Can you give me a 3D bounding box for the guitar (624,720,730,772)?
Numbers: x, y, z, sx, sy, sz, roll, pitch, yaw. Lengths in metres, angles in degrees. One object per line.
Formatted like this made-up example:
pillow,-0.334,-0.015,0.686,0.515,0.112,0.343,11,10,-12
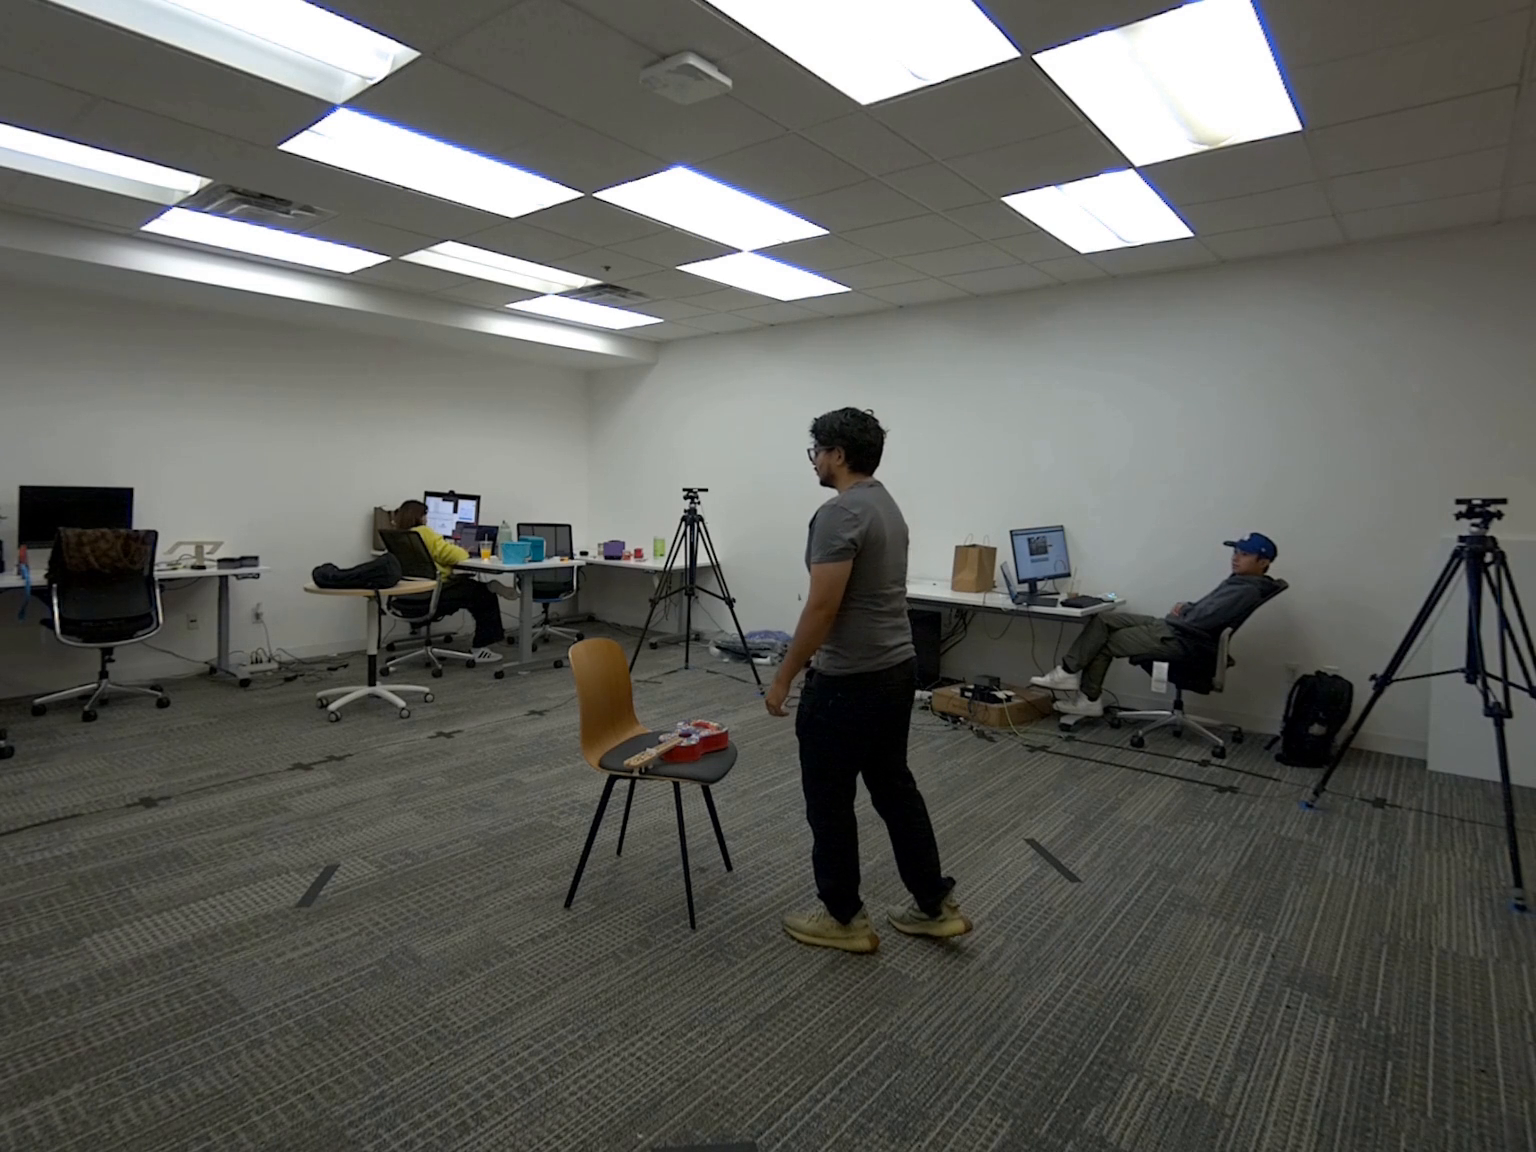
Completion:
guitar,-0.352,0.579,2.874,0.199,0.070,0.484,6,10,38
